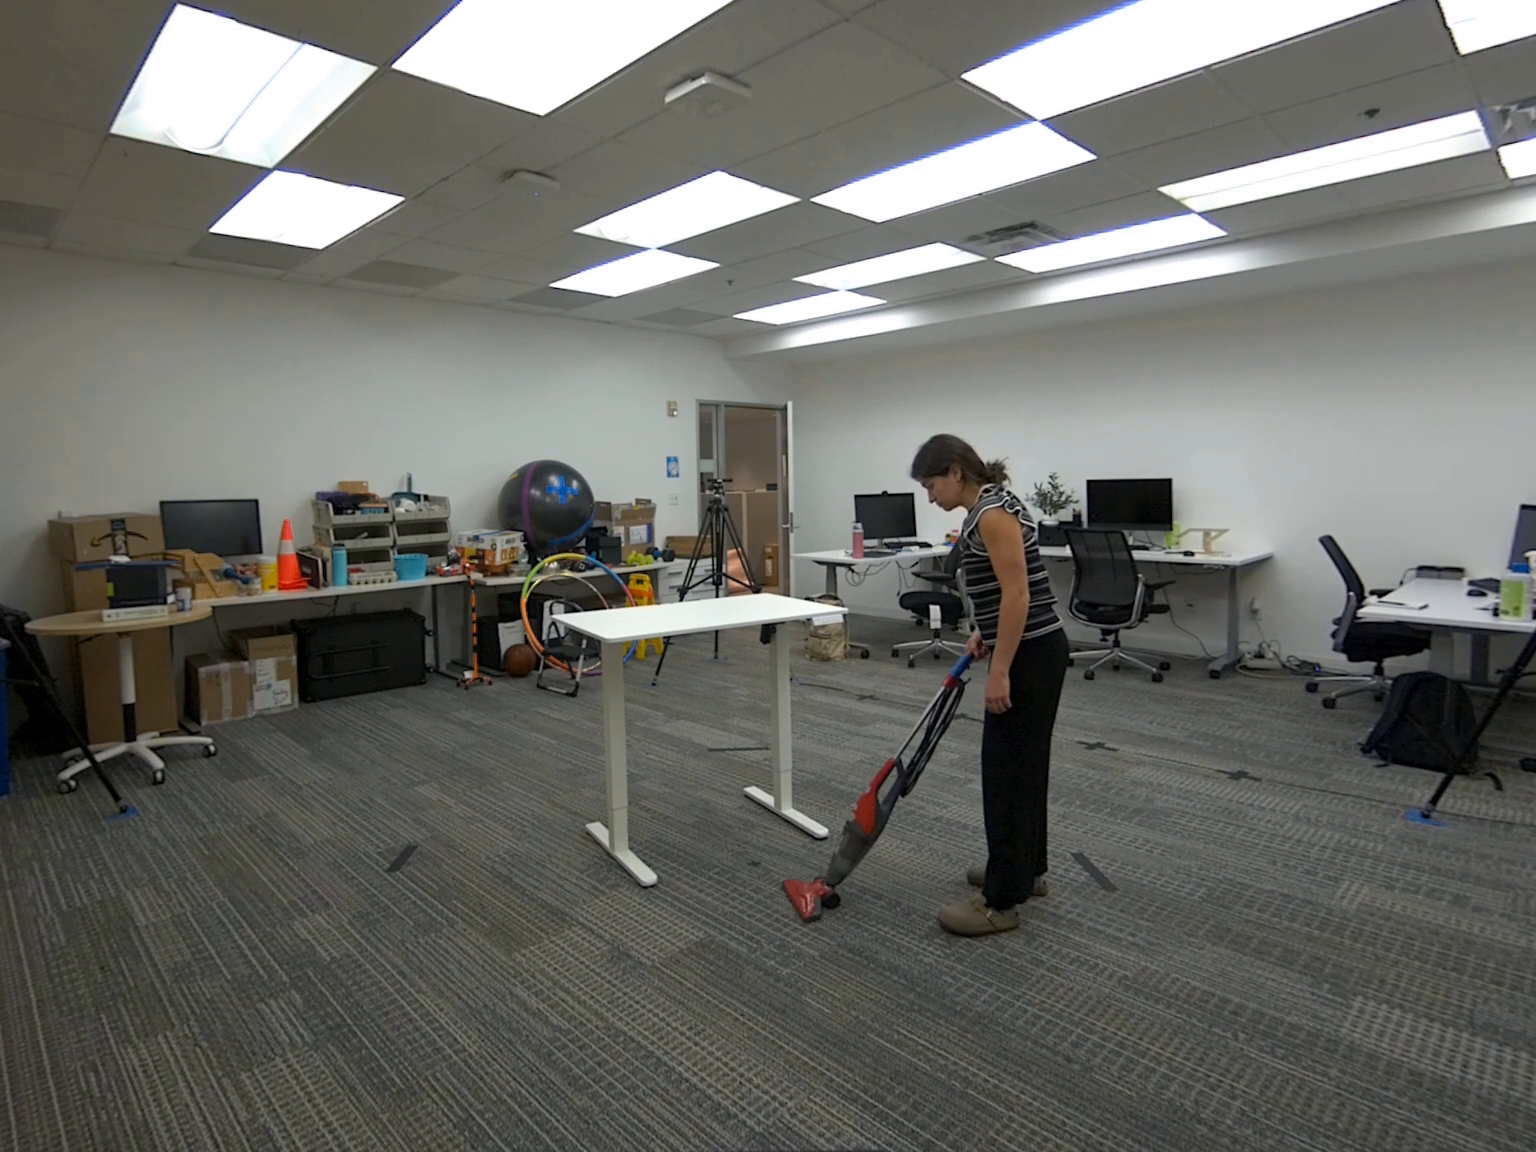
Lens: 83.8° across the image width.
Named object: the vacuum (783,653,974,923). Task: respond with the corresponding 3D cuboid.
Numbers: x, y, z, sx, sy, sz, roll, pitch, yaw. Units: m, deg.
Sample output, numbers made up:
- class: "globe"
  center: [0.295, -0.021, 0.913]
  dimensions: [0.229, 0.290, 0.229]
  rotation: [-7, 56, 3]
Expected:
- class: "vacuum"
  center: [0.452, 0.662, 2.853]
  dimensions: [0.141, 1.050, 0.258]
  rotation: [39, -6, -18]
